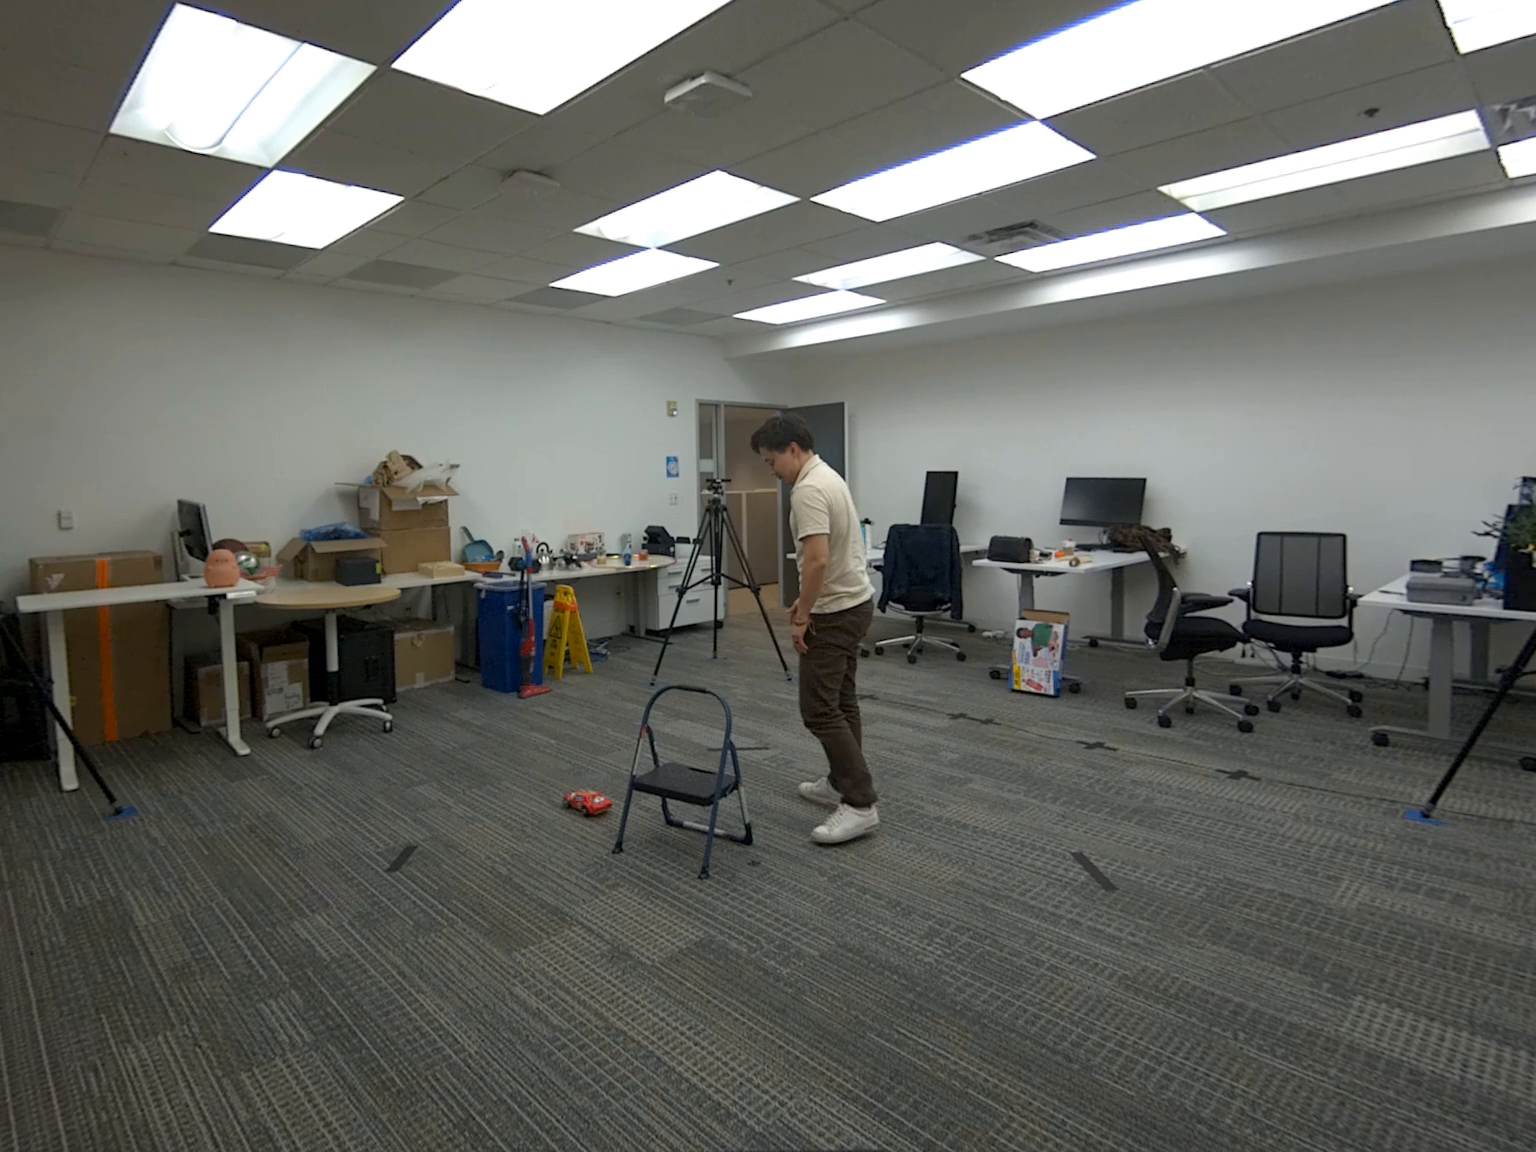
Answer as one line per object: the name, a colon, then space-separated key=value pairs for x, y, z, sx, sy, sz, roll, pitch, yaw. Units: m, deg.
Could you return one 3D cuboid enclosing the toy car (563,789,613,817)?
toy car: x=-0.763 y=0.966 z=3.643 sx=0.127 sy=0.083 sz=0.260 roll=-6 pitch=-3 yaw=-44
